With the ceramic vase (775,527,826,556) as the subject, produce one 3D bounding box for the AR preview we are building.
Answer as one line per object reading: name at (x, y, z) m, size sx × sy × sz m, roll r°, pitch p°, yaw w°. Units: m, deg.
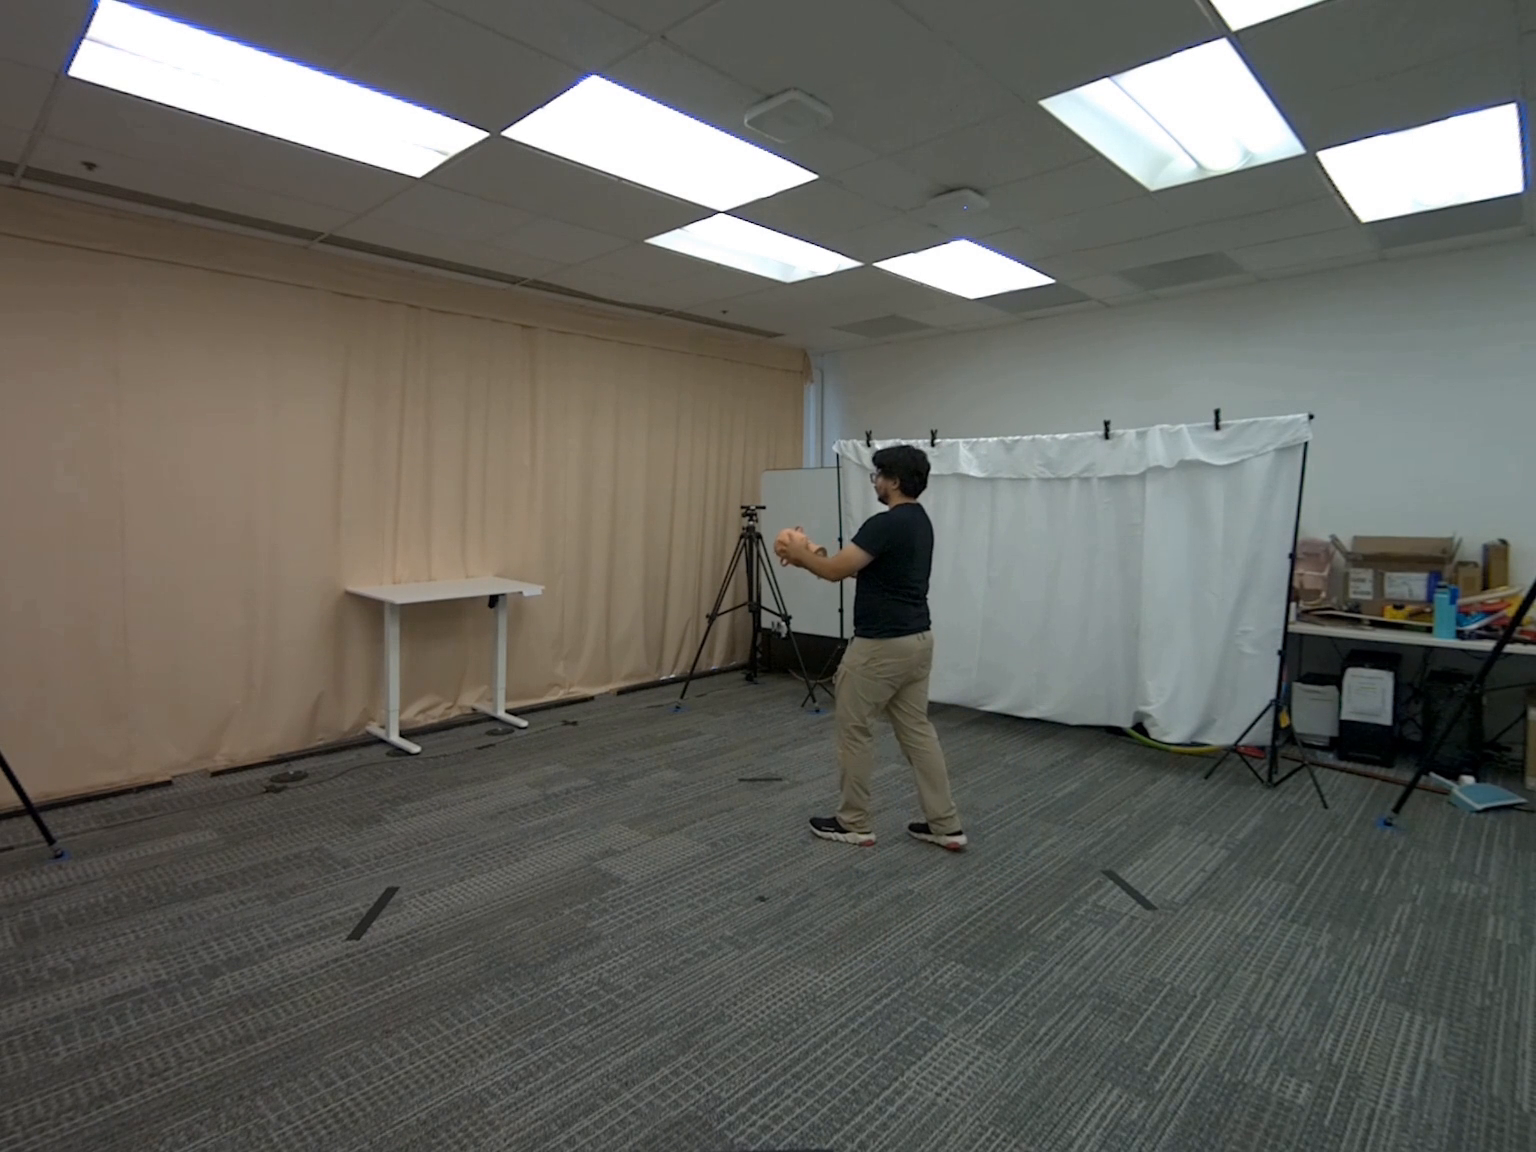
ceramic vase at (0.147, -0.112, 3.727) m, size 0.132 × 0.156 × 0.228 m, roll -26°, pitch 34°, yaw -34°
